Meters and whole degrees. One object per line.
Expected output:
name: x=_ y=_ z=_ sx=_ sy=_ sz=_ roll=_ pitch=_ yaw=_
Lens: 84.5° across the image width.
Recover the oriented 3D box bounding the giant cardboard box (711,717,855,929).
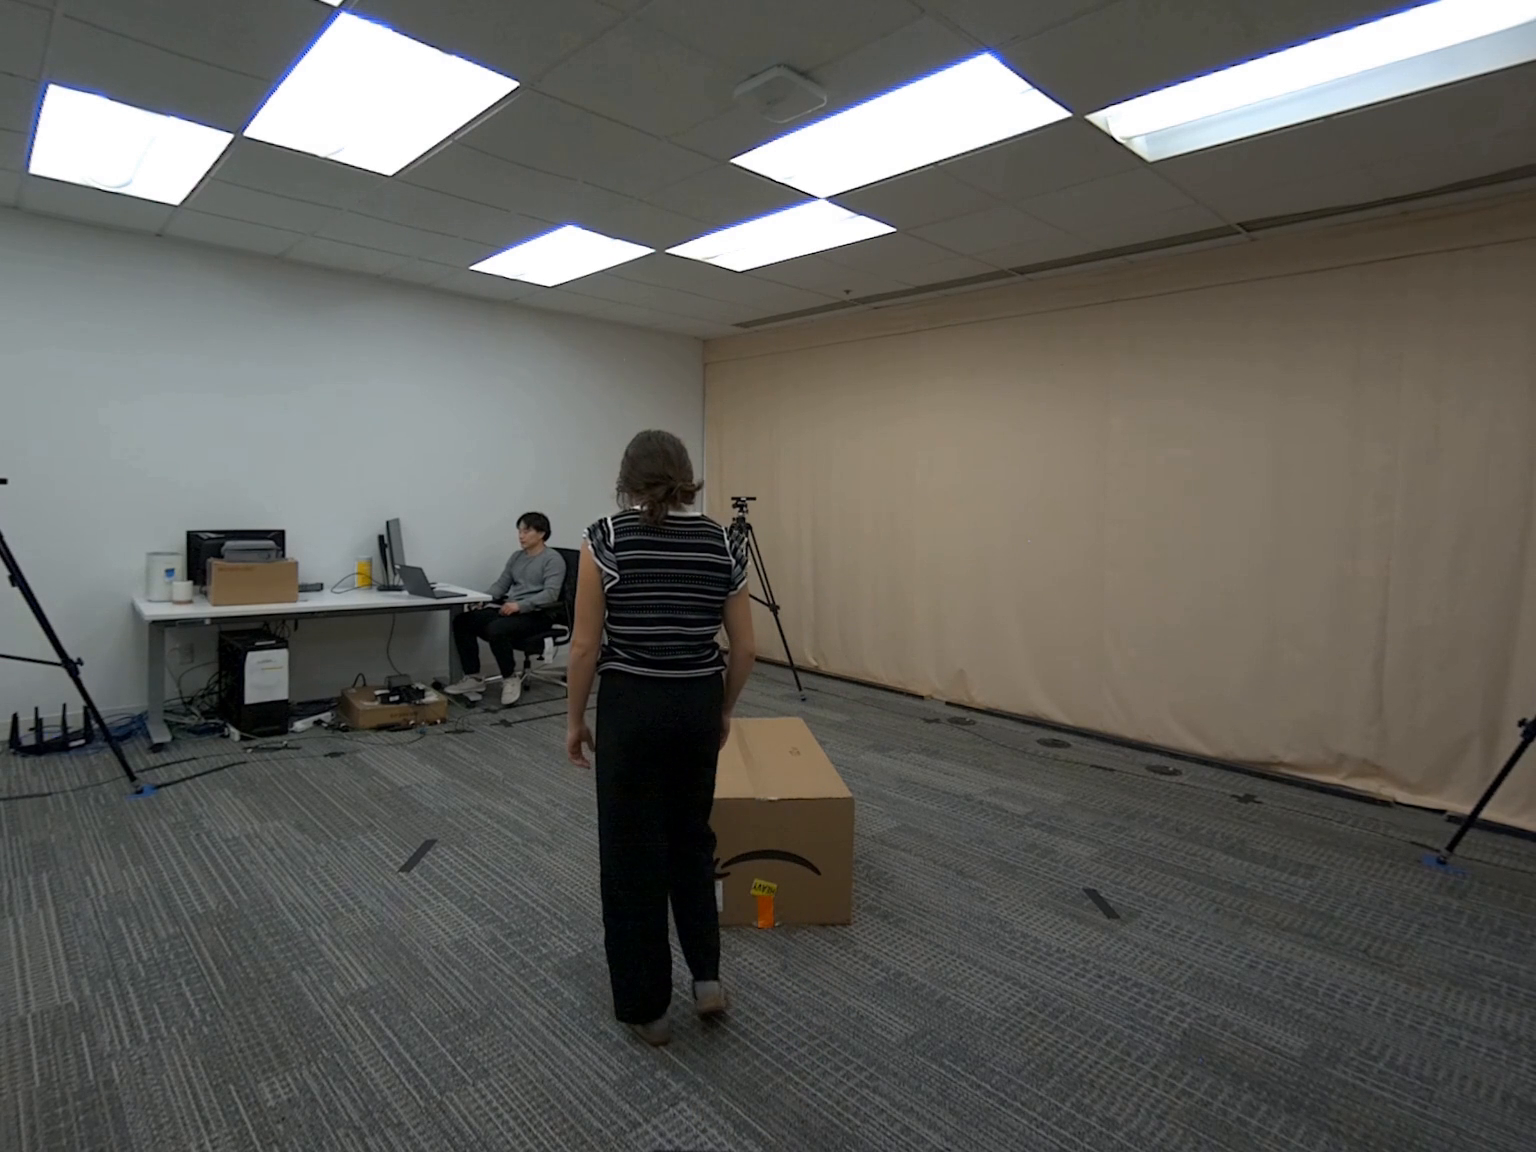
giant cardboard box: x=-0.075 y=0.885 z=3.232 sx=0.575 sy=0.425 sz=1.034 roll=0 pitch=5 yaw=-7
